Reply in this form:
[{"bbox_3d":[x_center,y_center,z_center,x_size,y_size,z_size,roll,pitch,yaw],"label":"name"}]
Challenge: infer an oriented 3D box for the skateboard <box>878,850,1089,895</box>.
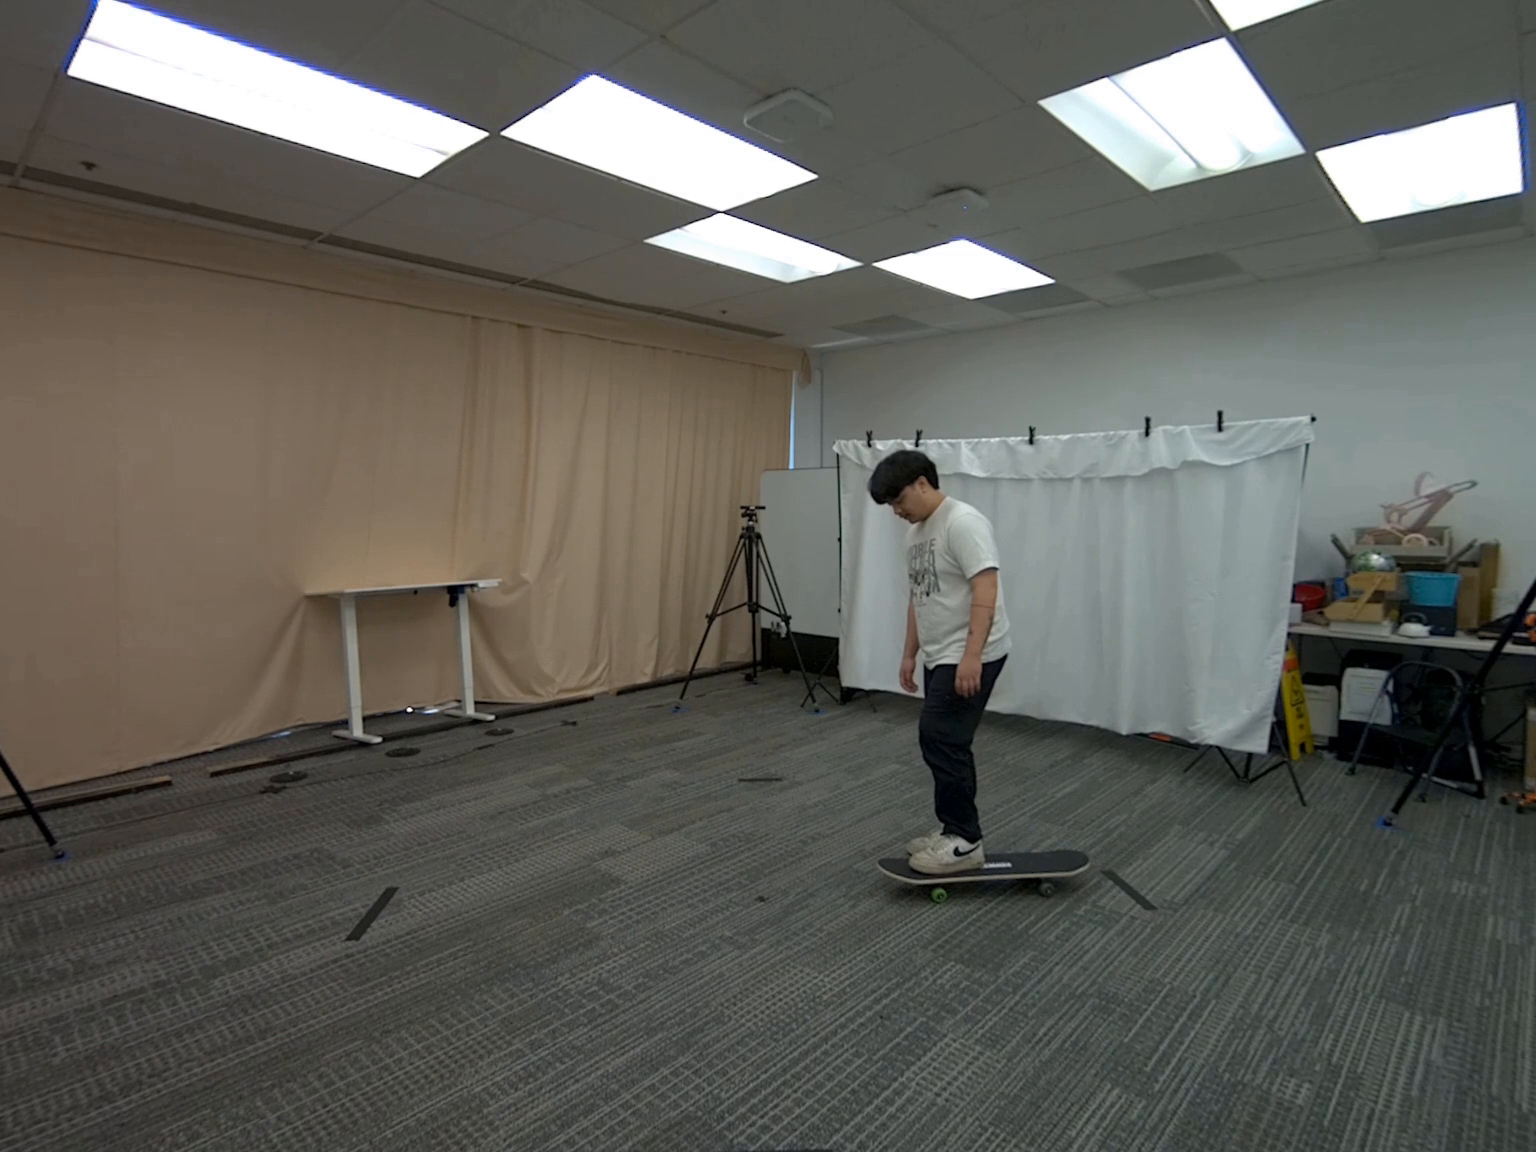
[{"bbox_3d":[0.784,1.076,3.052,0.779,0.110,0.195,-1,3,-7],"label":"skateboard"}]
